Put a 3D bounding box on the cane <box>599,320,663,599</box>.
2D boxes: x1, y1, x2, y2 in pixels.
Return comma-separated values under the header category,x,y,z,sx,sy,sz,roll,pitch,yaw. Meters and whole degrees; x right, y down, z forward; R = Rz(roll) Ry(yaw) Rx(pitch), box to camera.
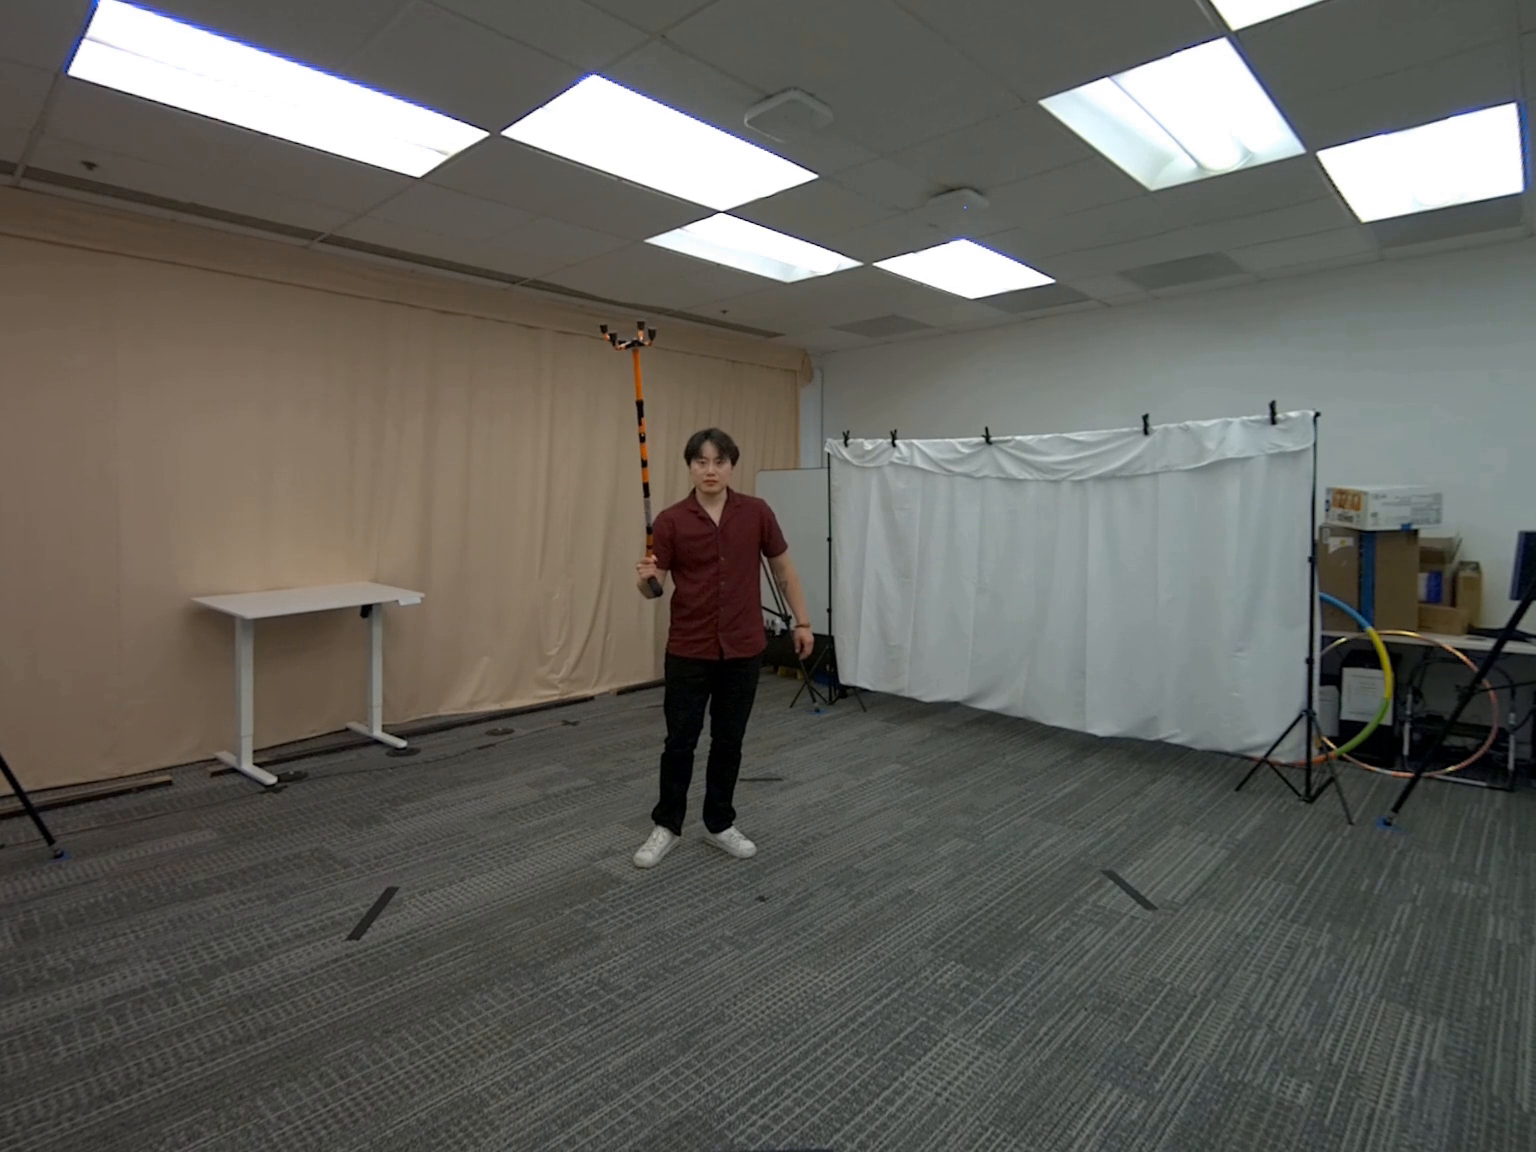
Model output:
category,x,y,z,sx,sy,sz,roll,pitch,yaw
cane,-0.423,-0.377,2.815,0.149,0.894,0.212,-10,26,-15
